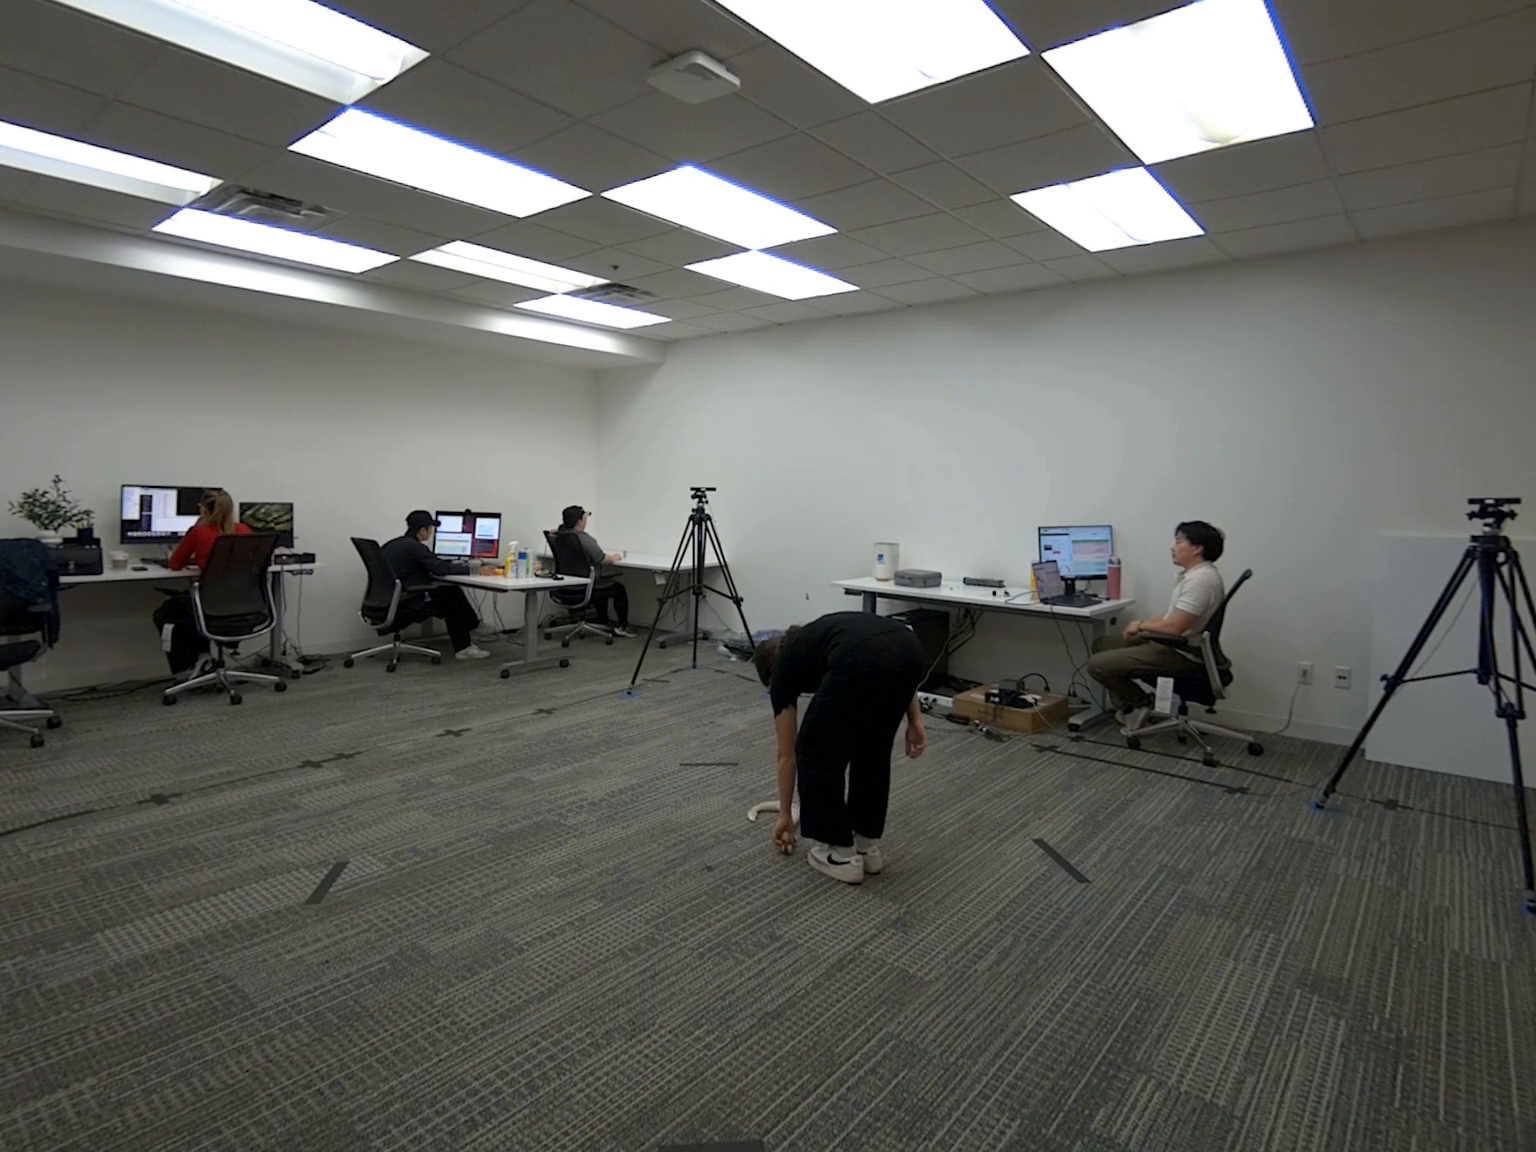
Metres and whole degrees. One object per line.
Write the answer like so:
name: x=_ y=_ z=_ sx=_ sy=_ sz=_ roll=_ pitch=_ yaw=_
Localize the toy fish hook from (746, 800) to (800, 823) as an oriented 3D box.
toy fish hook: x=0.017 y=1.012 z=3.472 sx=0.225 sy=0.048 sz=0.506 roll=-6 pitch=4 yaw=1
